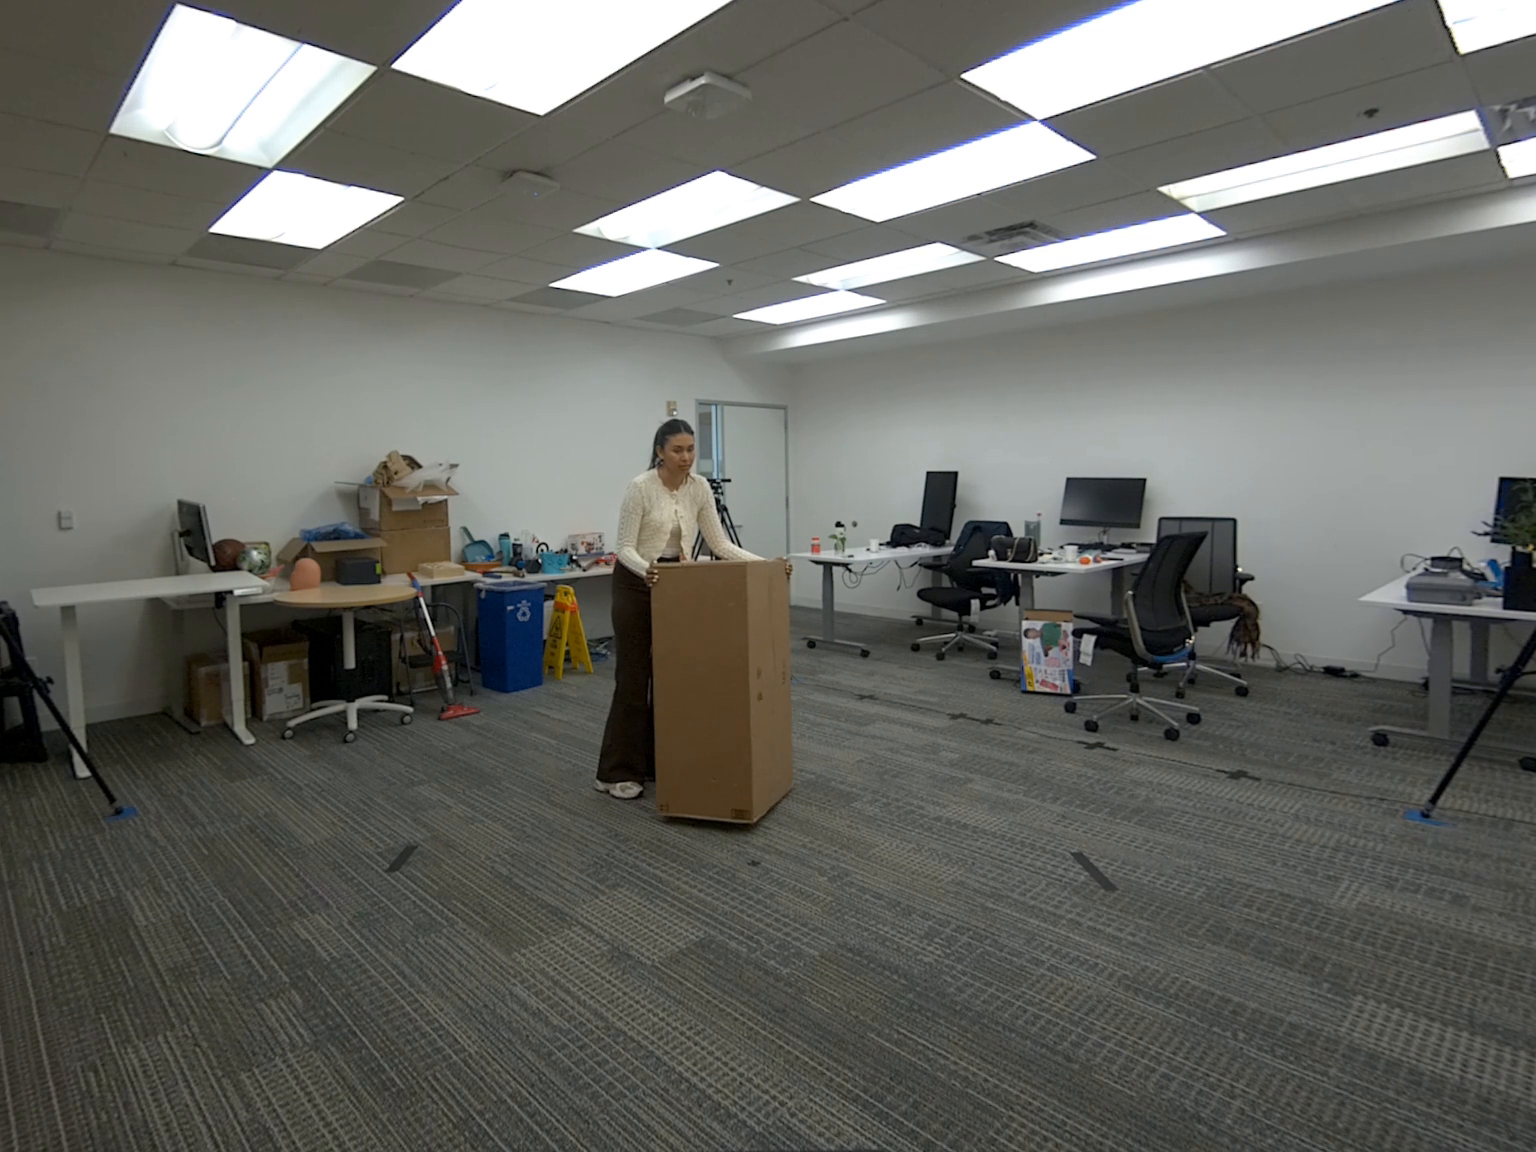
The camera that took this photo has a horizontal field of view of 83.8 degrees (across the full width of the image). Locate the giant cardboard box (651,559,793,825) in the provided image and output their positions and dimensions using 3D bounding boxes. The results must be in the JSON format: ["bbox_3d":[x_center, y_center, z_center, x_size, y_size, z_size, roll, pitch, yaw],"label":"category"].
[{"bbox_3d":[-0.180,0.455,3.673,0.434,1.027,0.566,-2,-1,20],"label":"giant cardboard box"}]
